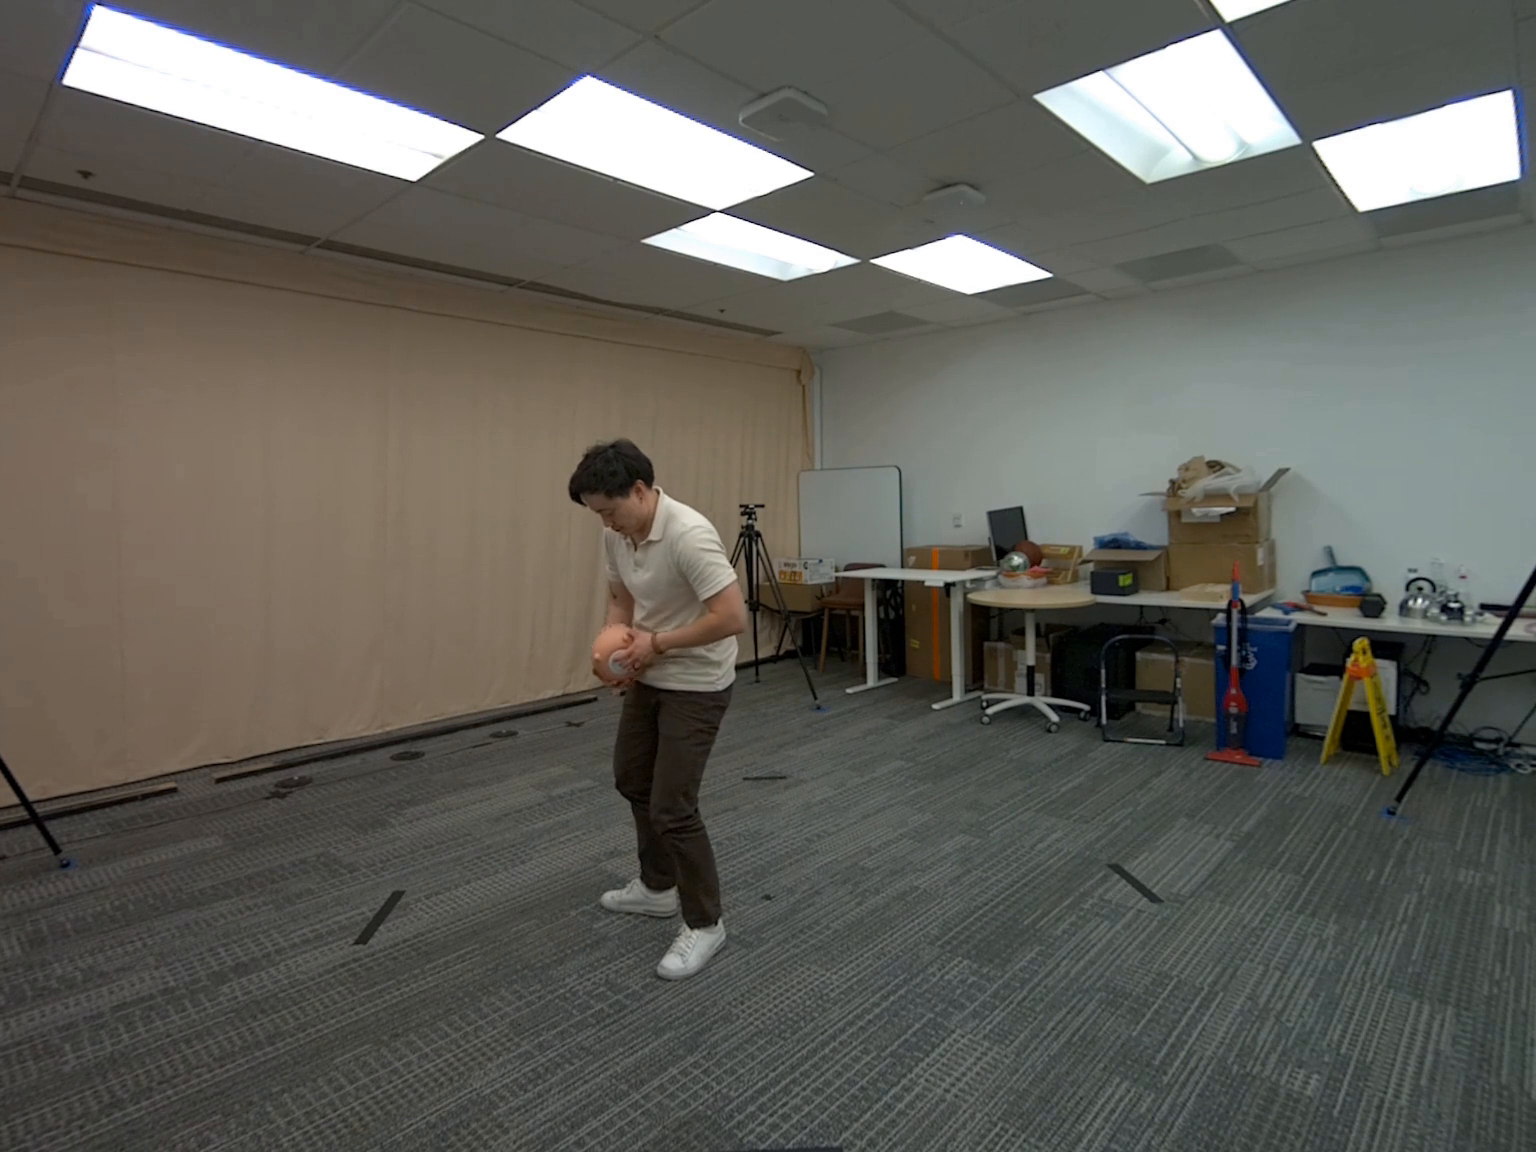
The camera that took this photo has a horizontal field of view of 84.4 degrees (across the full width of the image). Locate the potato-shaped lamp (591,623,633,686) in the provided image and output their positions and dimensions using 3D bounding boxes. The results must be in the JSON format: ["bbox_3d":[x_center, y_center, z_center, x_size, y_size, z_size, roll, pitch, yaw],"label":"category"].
[{"bbox_3d":[-0.462,0.223,2.584,0.164,0.167,0.204,-37,29,-3],"label":"potato-shaped lamp"}]
